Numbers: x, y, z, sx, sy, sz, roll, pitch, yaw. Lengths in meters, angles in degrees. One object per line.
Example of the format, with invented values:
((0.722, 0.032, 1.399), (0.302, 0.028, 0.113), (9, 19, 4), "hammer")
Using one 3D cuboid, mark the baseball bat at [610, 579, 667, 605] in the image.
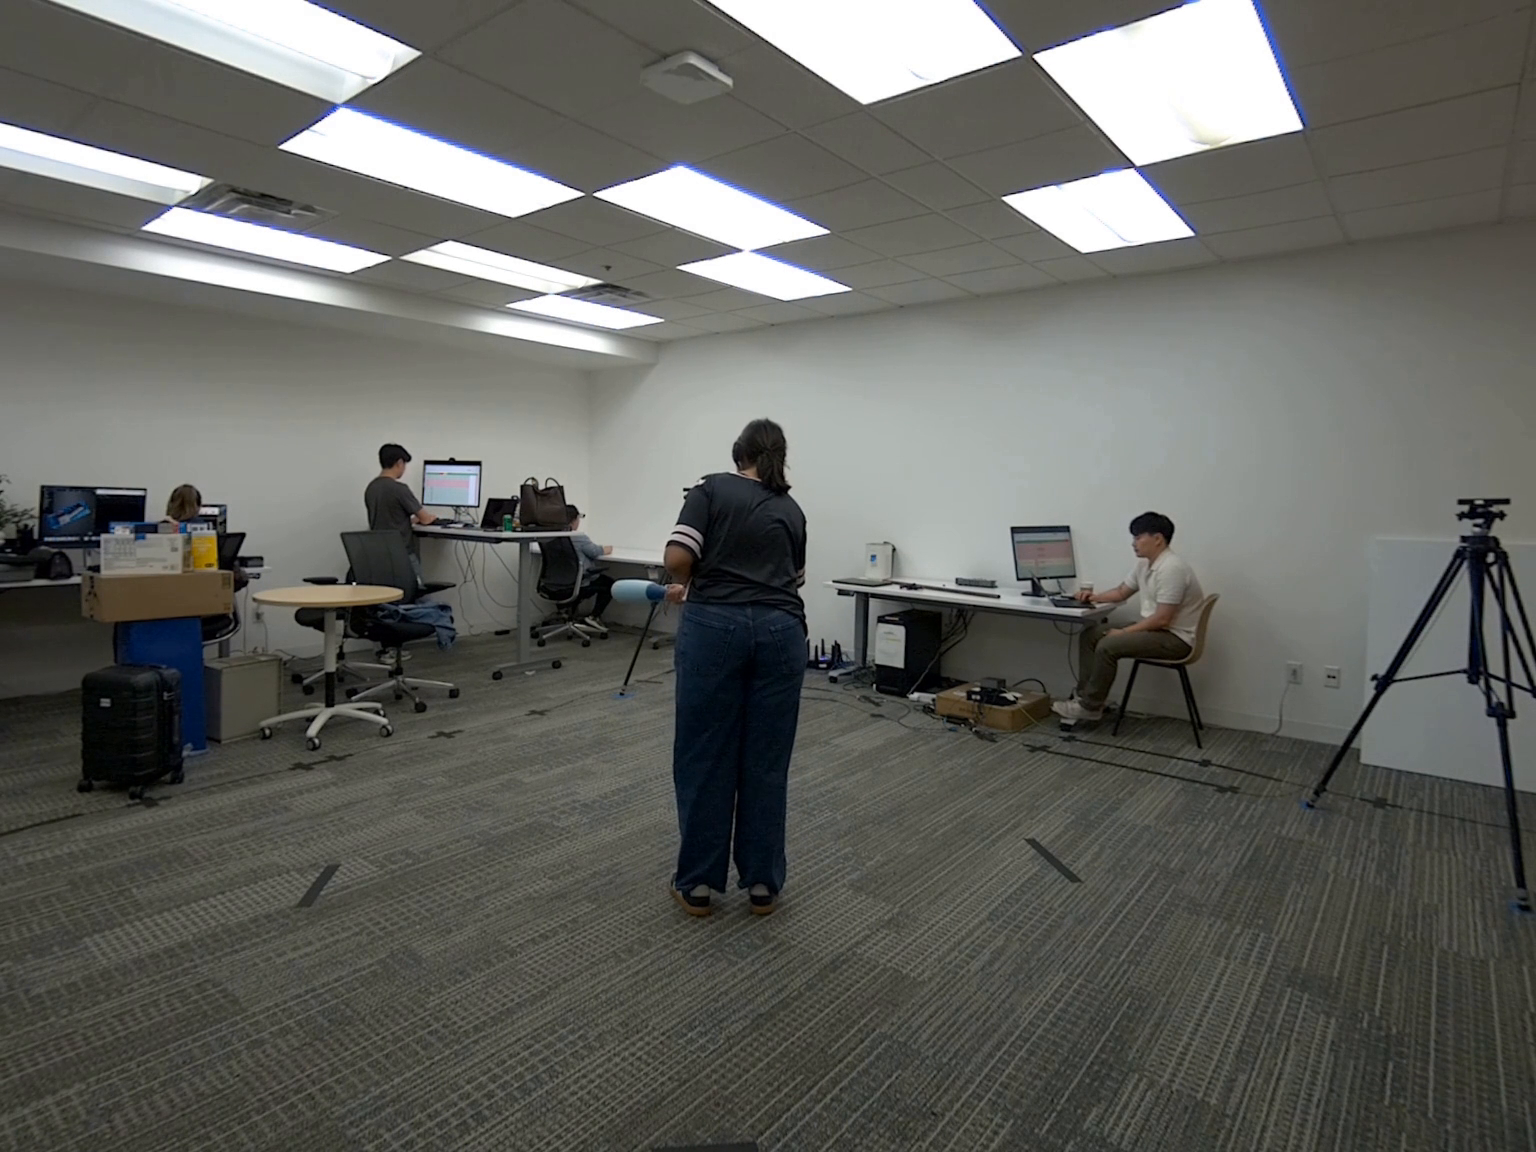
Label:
((-0.429, 0.074, 3.189), (0.086, 0.089, 0.559), (-2, 1, -37), "baseball bat")
